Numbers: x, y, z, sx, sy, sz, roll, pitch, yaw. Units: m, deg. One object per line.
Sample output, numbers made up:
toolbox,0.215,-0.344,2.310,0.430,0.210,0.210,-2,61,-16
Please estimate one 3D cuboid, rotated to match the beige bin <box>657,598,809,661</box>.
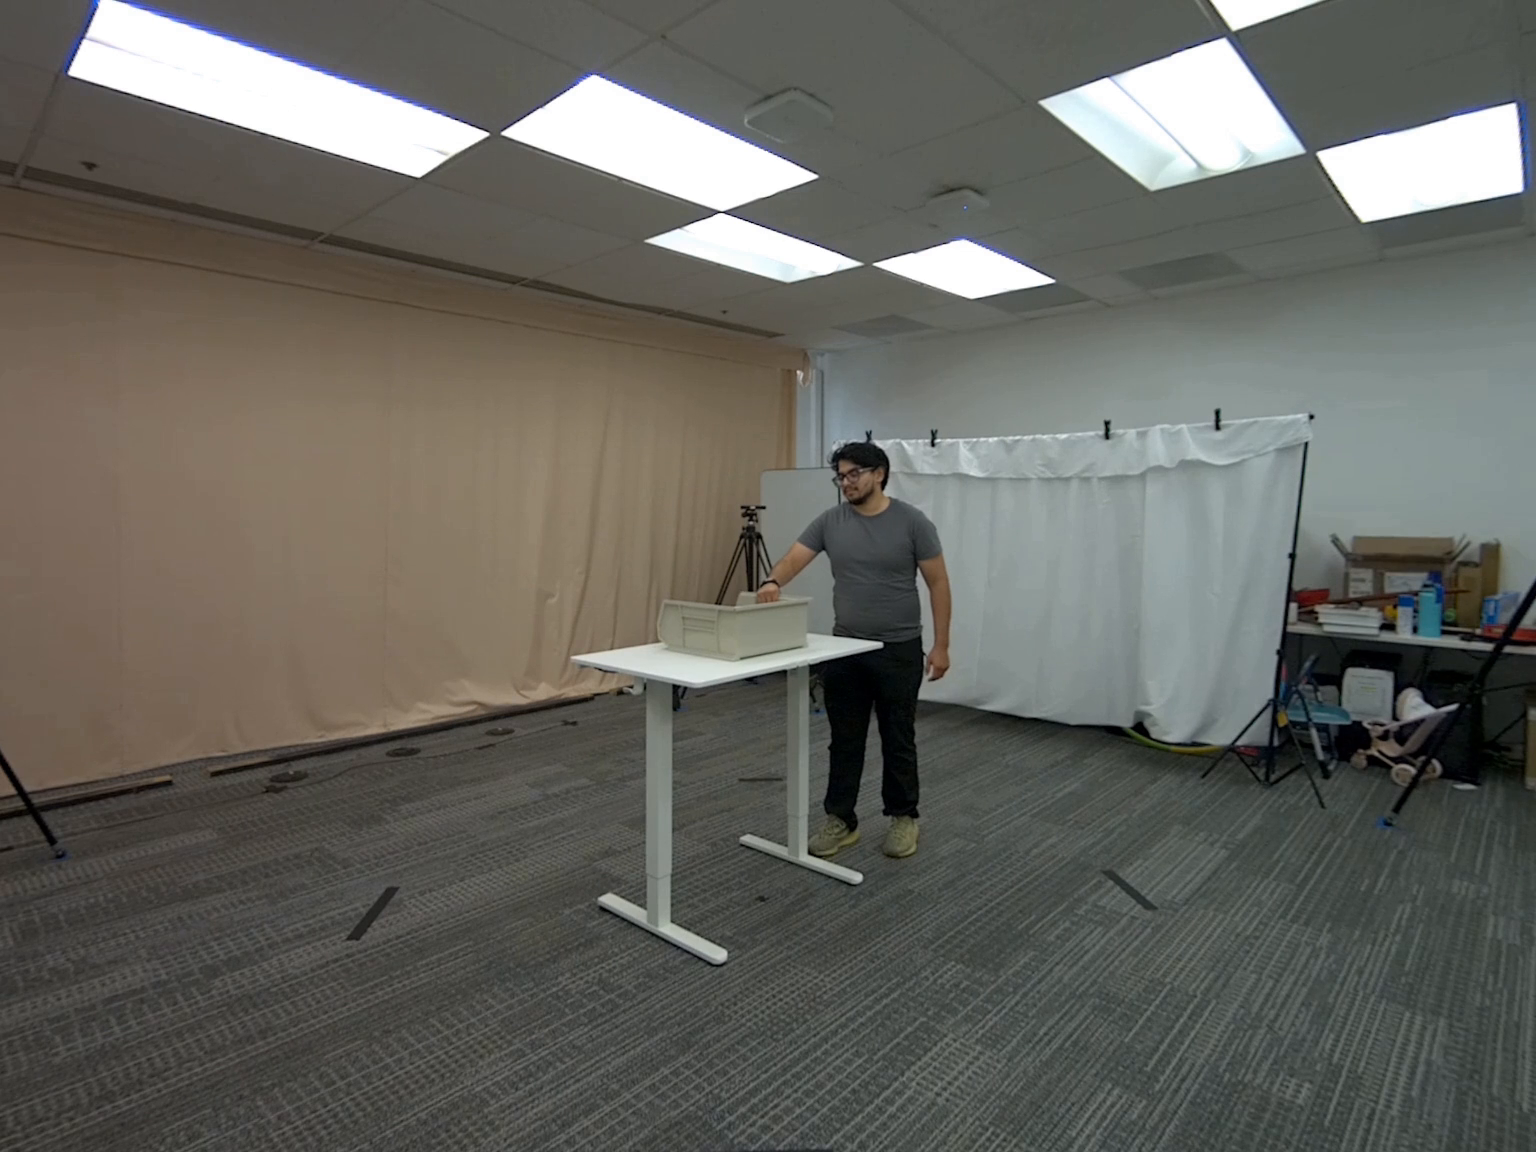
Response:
beige bin,-0.119,0.169,3.009,0.390,0.188,0.409,6,7,41
